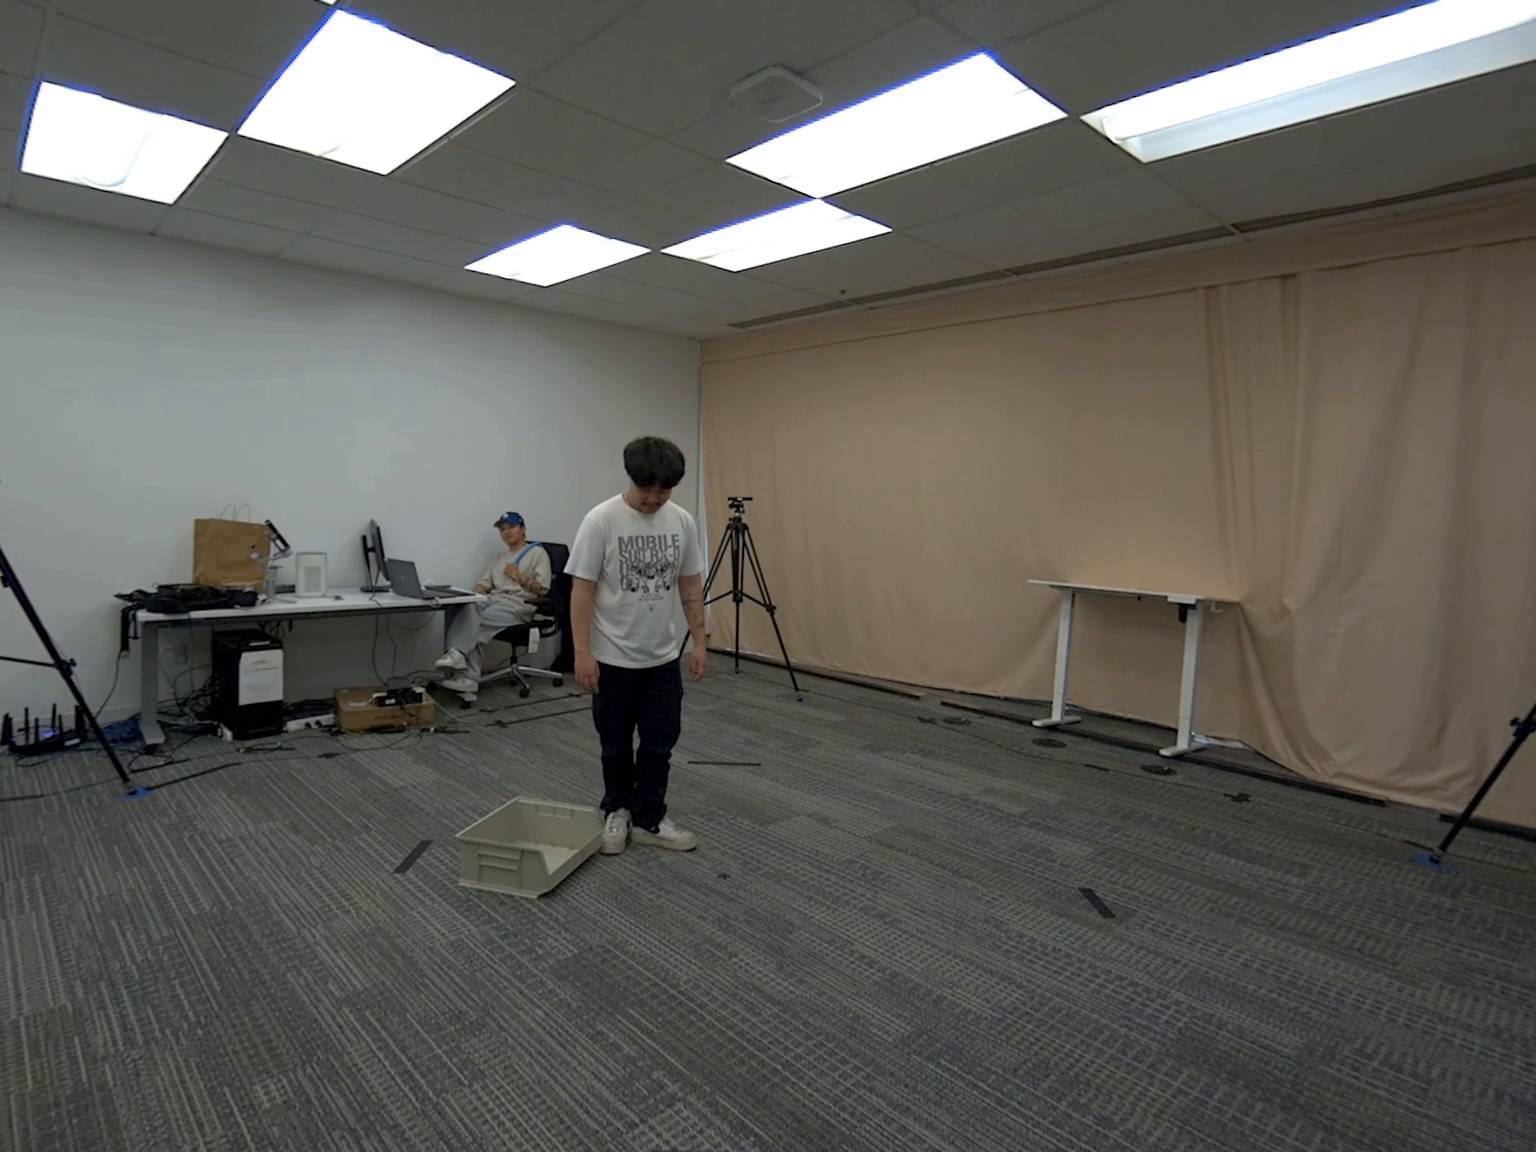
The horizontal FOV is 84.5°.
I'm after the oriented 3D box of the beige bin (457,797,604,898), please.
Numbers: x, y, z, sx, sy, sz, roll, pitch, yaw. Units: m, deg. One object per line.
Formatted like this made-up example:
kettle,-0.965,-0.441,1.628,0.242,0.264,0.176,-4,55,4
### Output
beige bin,-0.885,1.003,3.121,0.382,0.188,0.418,2,6,15
